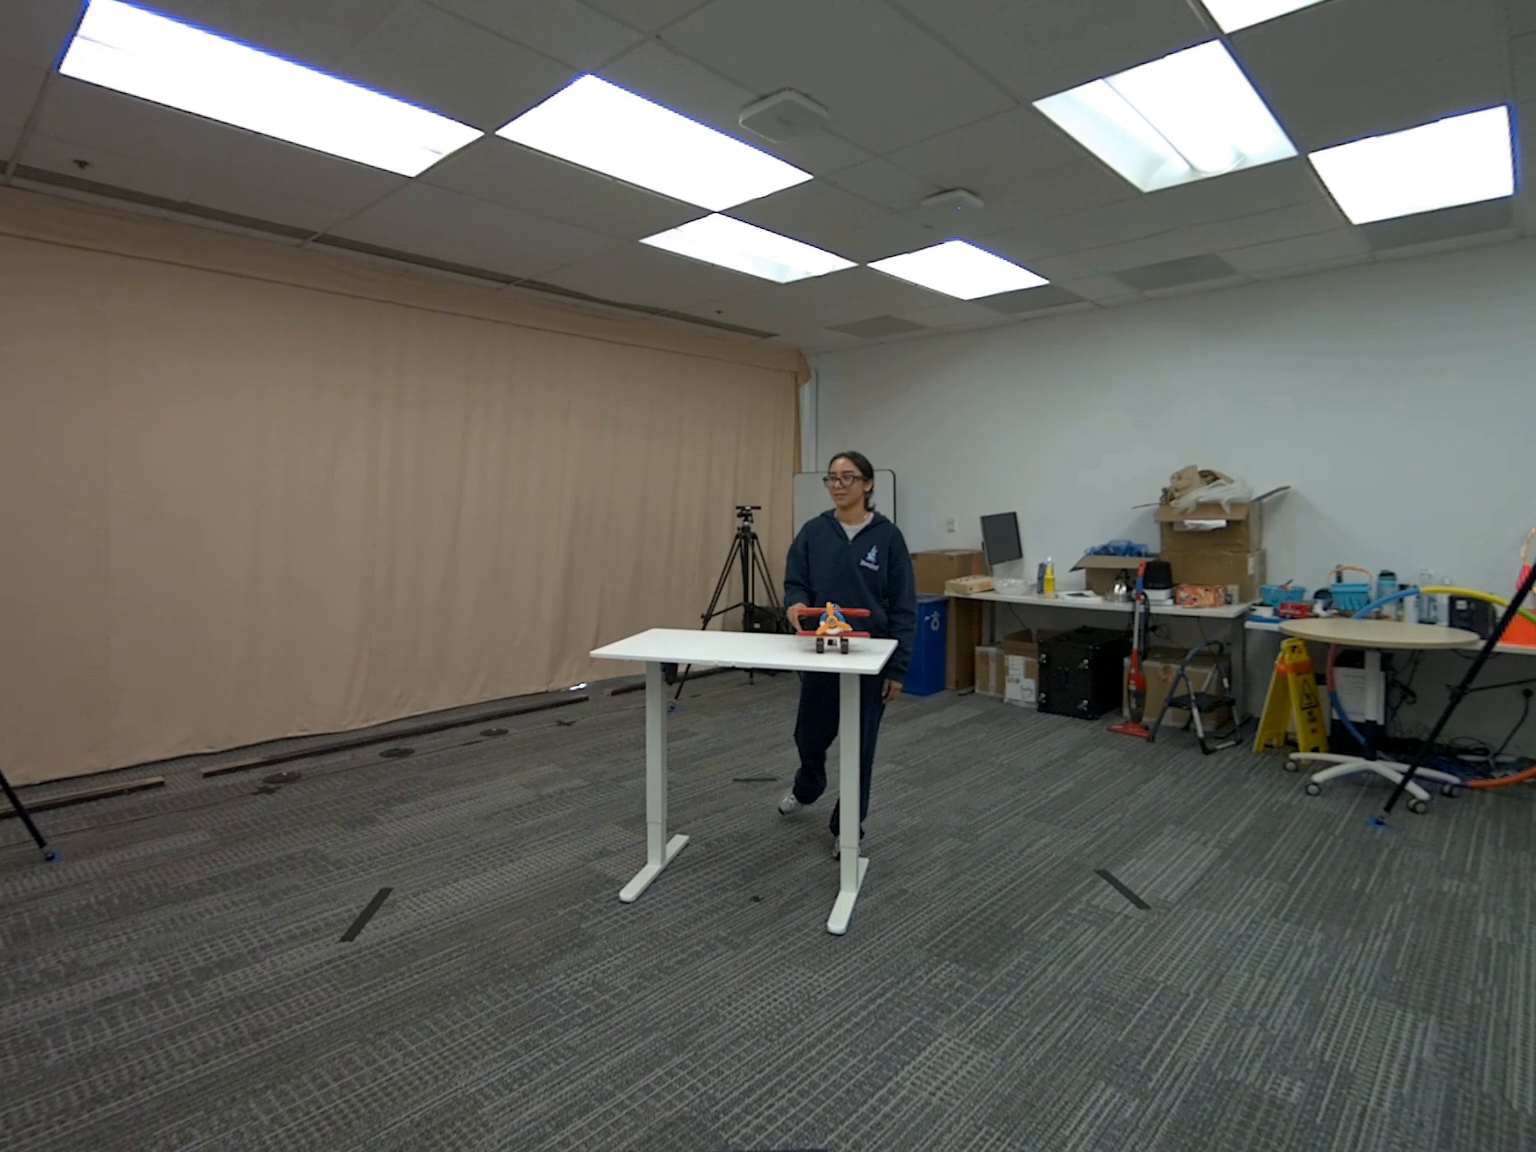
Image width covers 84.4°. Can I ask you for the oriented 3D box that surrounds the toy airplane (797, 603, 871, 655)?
[{"bbox_3d":[0.225,0.181,3.001,0.246,0.156,0.265,-1,5,-19],"label":"toy airplane"}]
